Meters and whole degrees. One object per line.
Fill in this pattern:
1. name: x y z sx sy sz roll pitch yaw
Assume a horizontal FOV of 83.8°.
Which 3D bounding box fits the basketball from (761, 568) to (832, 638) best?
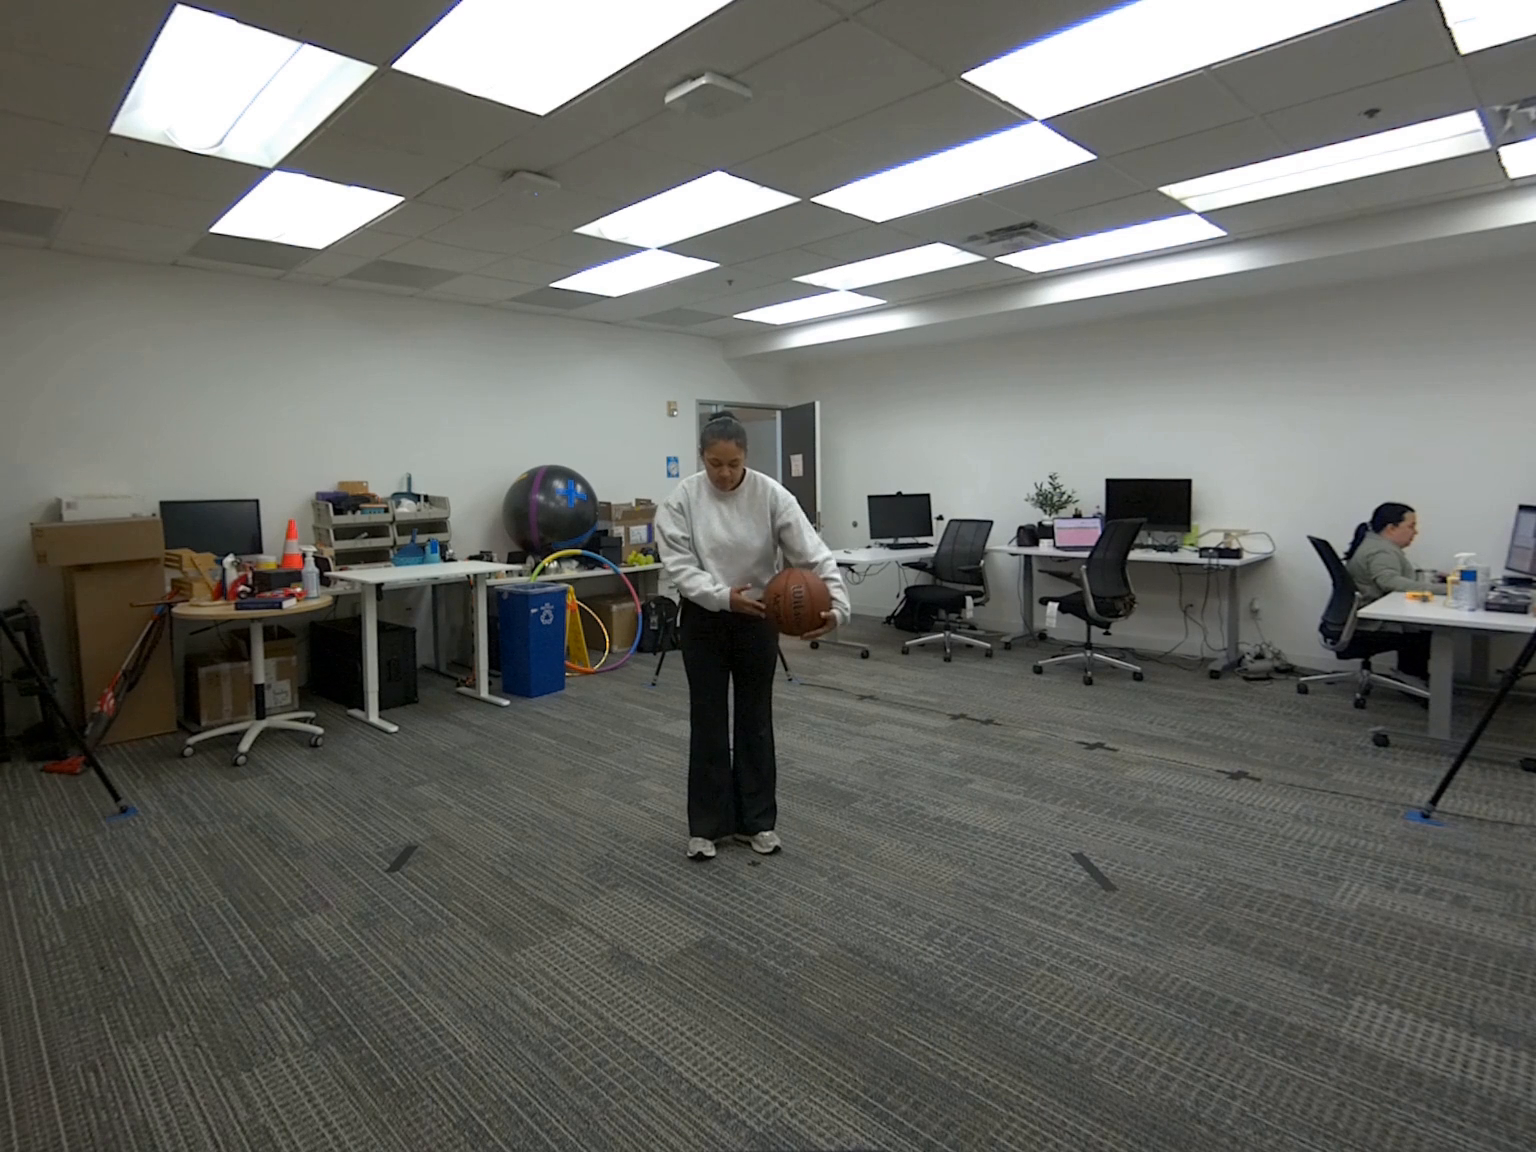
1. basketball: 0.075 0.089 2.978 0.236 0.235 0.237 -1 5 -2
